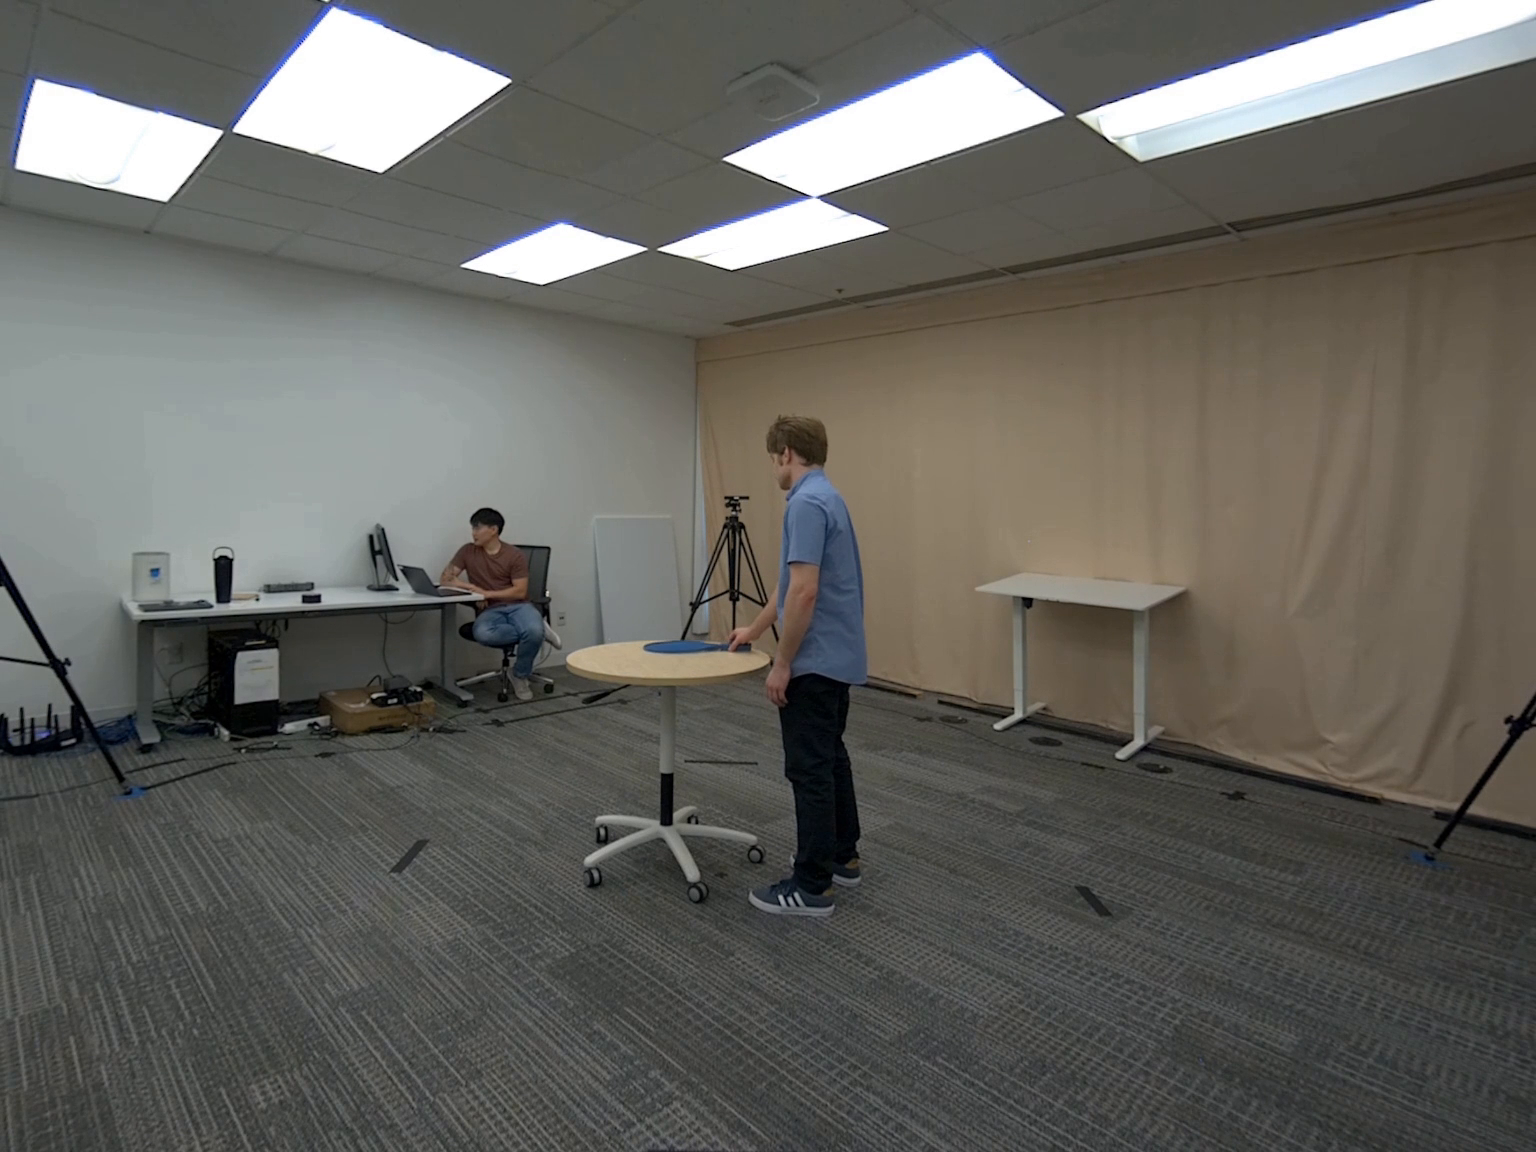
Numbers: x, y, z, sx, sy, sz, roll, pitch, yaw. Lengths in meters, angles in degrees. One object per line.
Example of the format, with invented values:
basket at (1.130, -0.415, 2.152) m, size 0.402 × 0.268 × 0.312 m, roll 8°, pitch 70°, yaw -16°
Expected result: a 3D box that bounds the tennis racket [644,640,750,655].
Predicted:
tennis racket at (-0.288, 0.284, 3.339) m, size 0.436 × 0.031 × 0.213 m, roll 0°, pitch 7°, yaw 8°
